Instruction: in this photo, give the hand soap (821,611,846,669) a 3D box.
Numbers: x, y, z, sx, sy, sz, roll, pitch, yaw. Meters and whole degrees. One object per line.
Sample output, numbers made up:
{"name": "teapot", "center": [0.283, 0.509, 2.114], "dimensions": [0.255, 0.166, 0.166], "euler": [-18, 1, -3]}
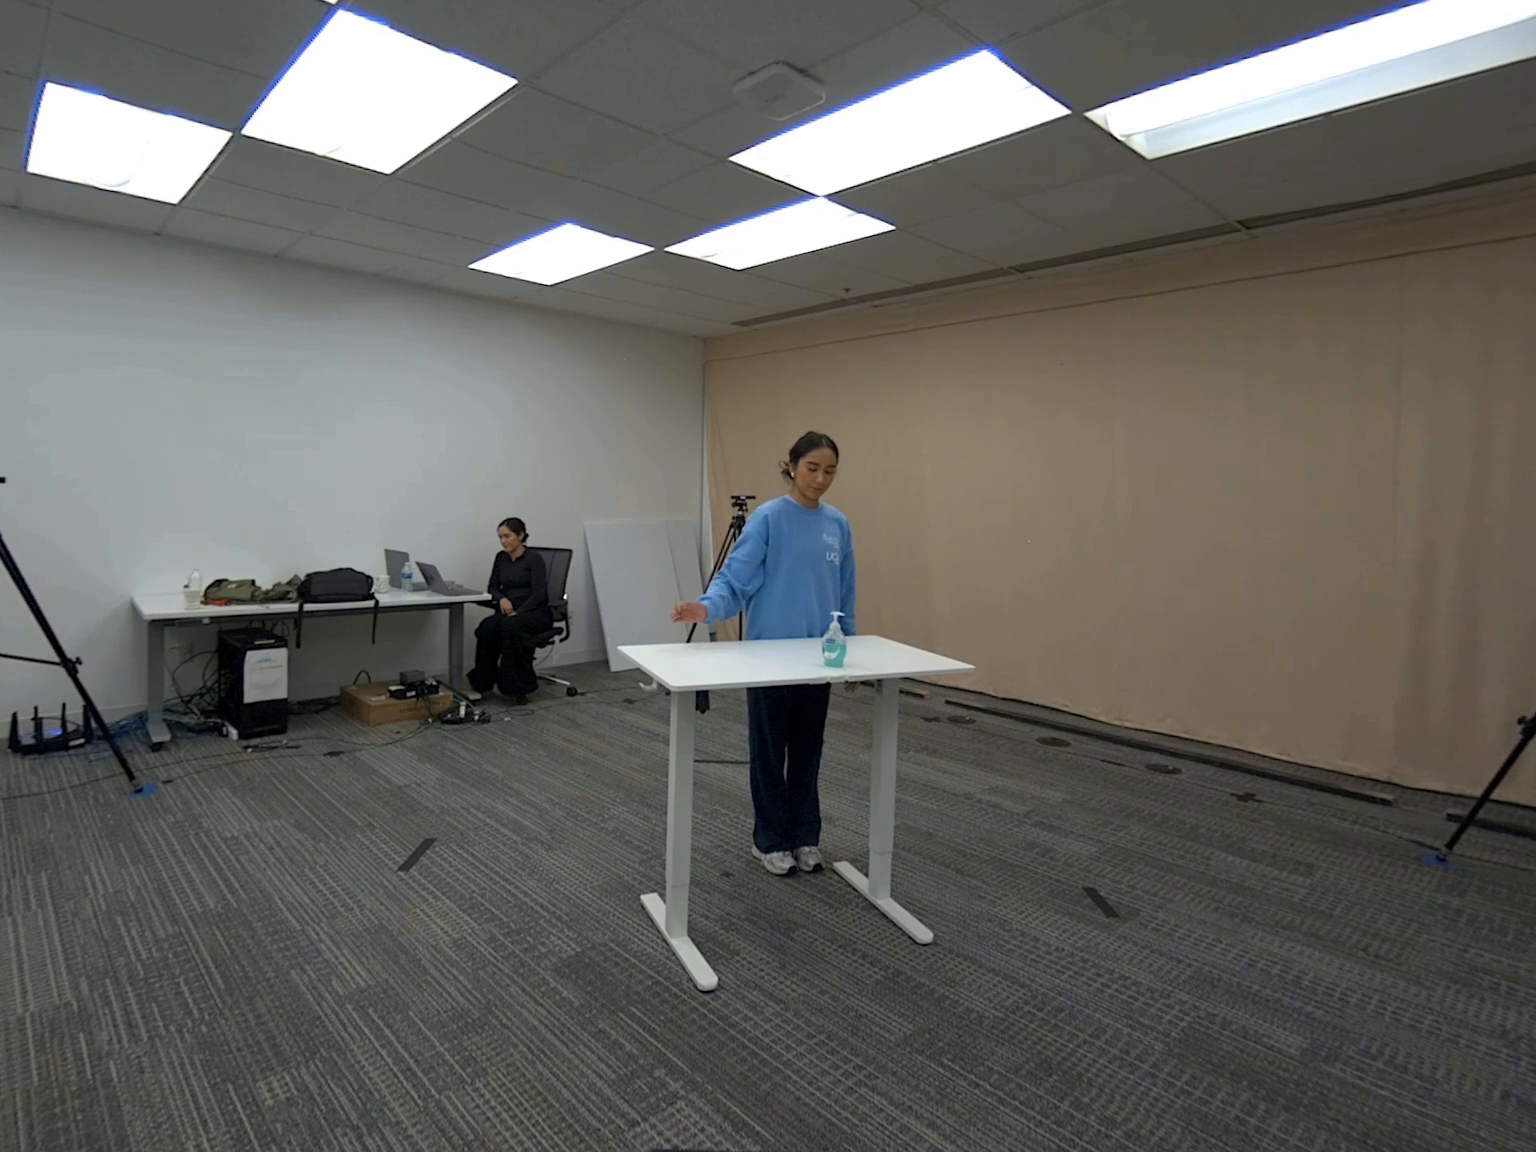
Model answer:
{"name": "hand soap", "center": [0.198, 0.195, 2.575], "dimensions": [0.042, 0.168, 0.087], "euler": [-1, 5, -45]}
